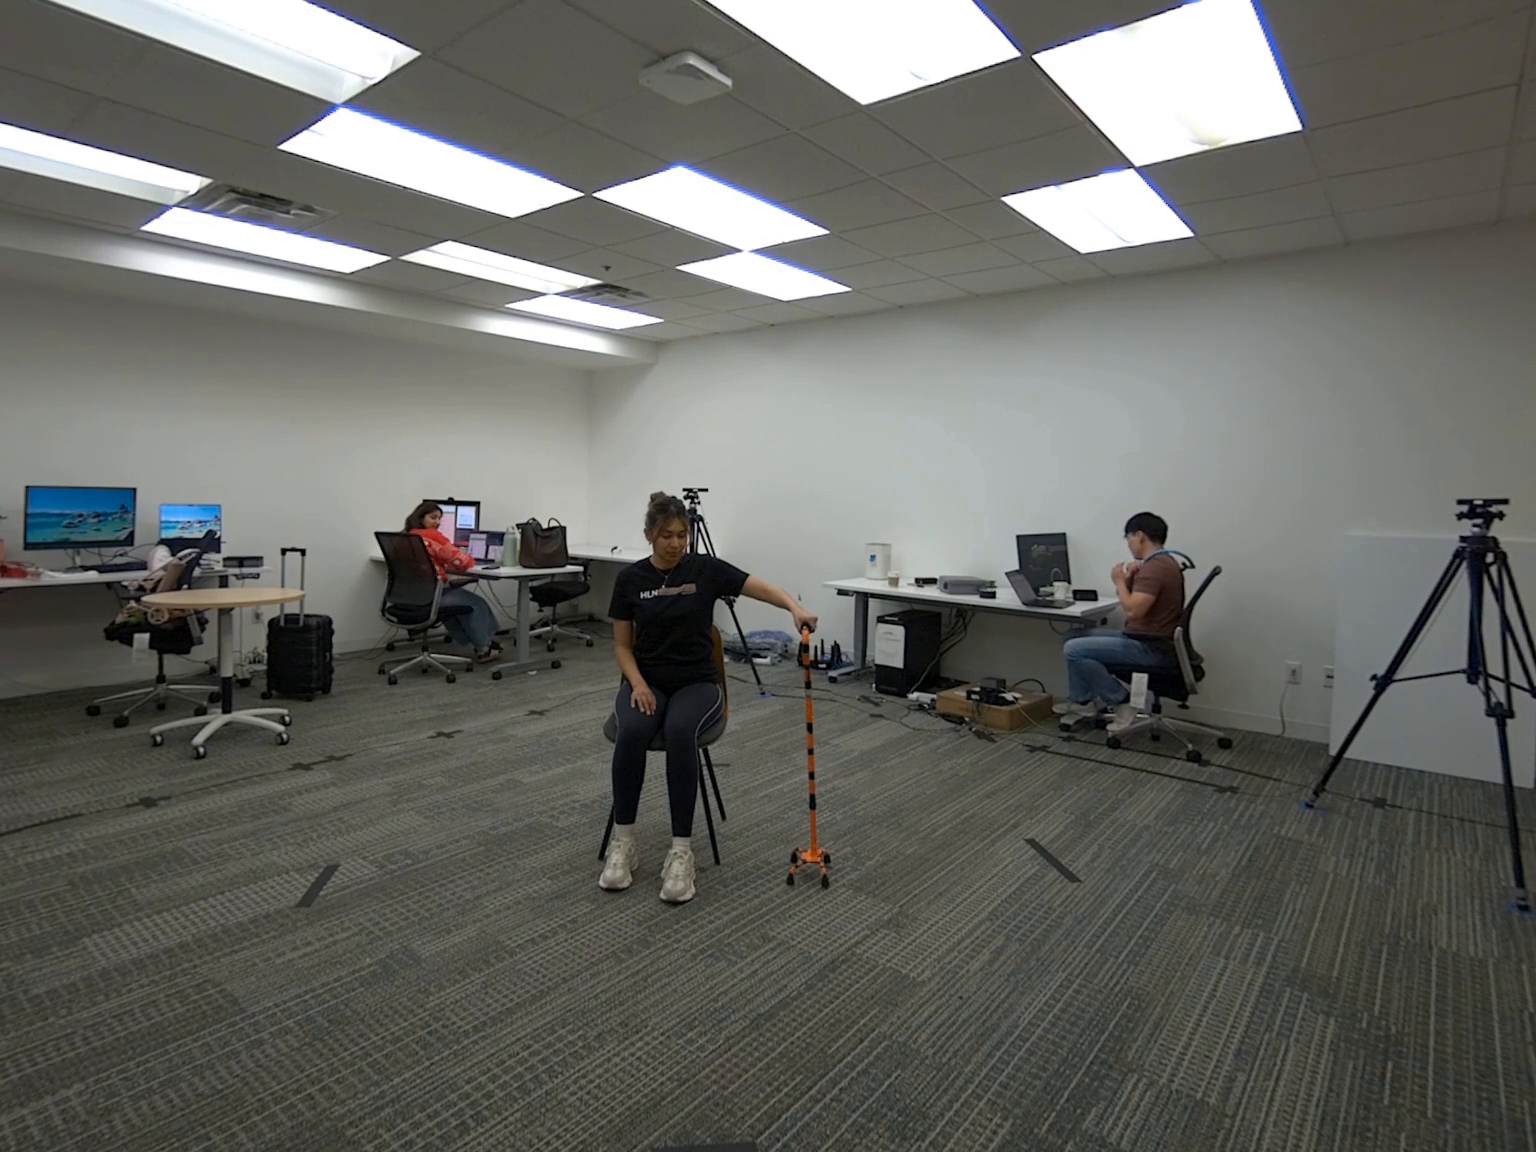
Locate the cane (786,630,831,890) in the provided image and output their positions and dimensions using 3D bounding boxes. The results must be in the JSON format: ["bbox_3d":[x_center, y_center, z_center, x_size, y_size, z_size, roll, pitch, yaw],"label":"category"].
[{"bbox_3d":[0.131,0.624,3.050,0.153,0.904,0.206,-1,4,6],"label":"cane"}]
